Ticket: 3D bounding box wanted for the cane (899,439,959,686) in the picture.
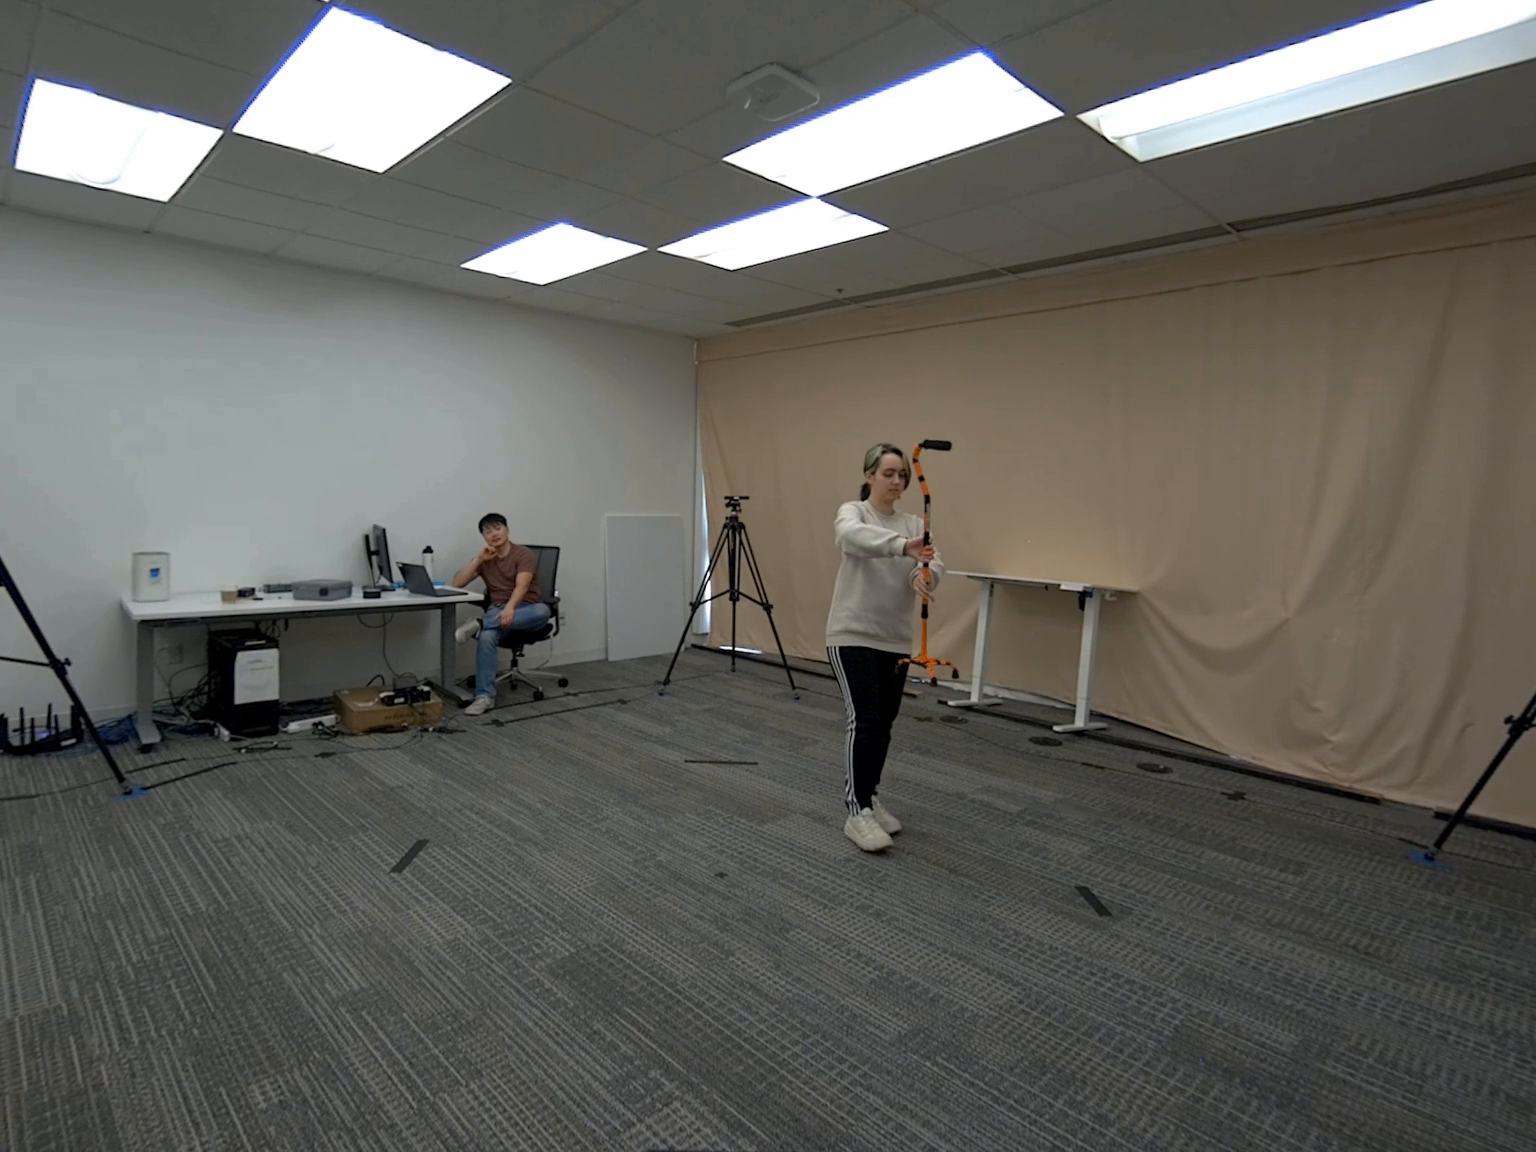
[{"bbox_3d":[0.602,-0.055,3.154,0.149,0.899,0.212,-10,16,-35],"label":"cane"}]
